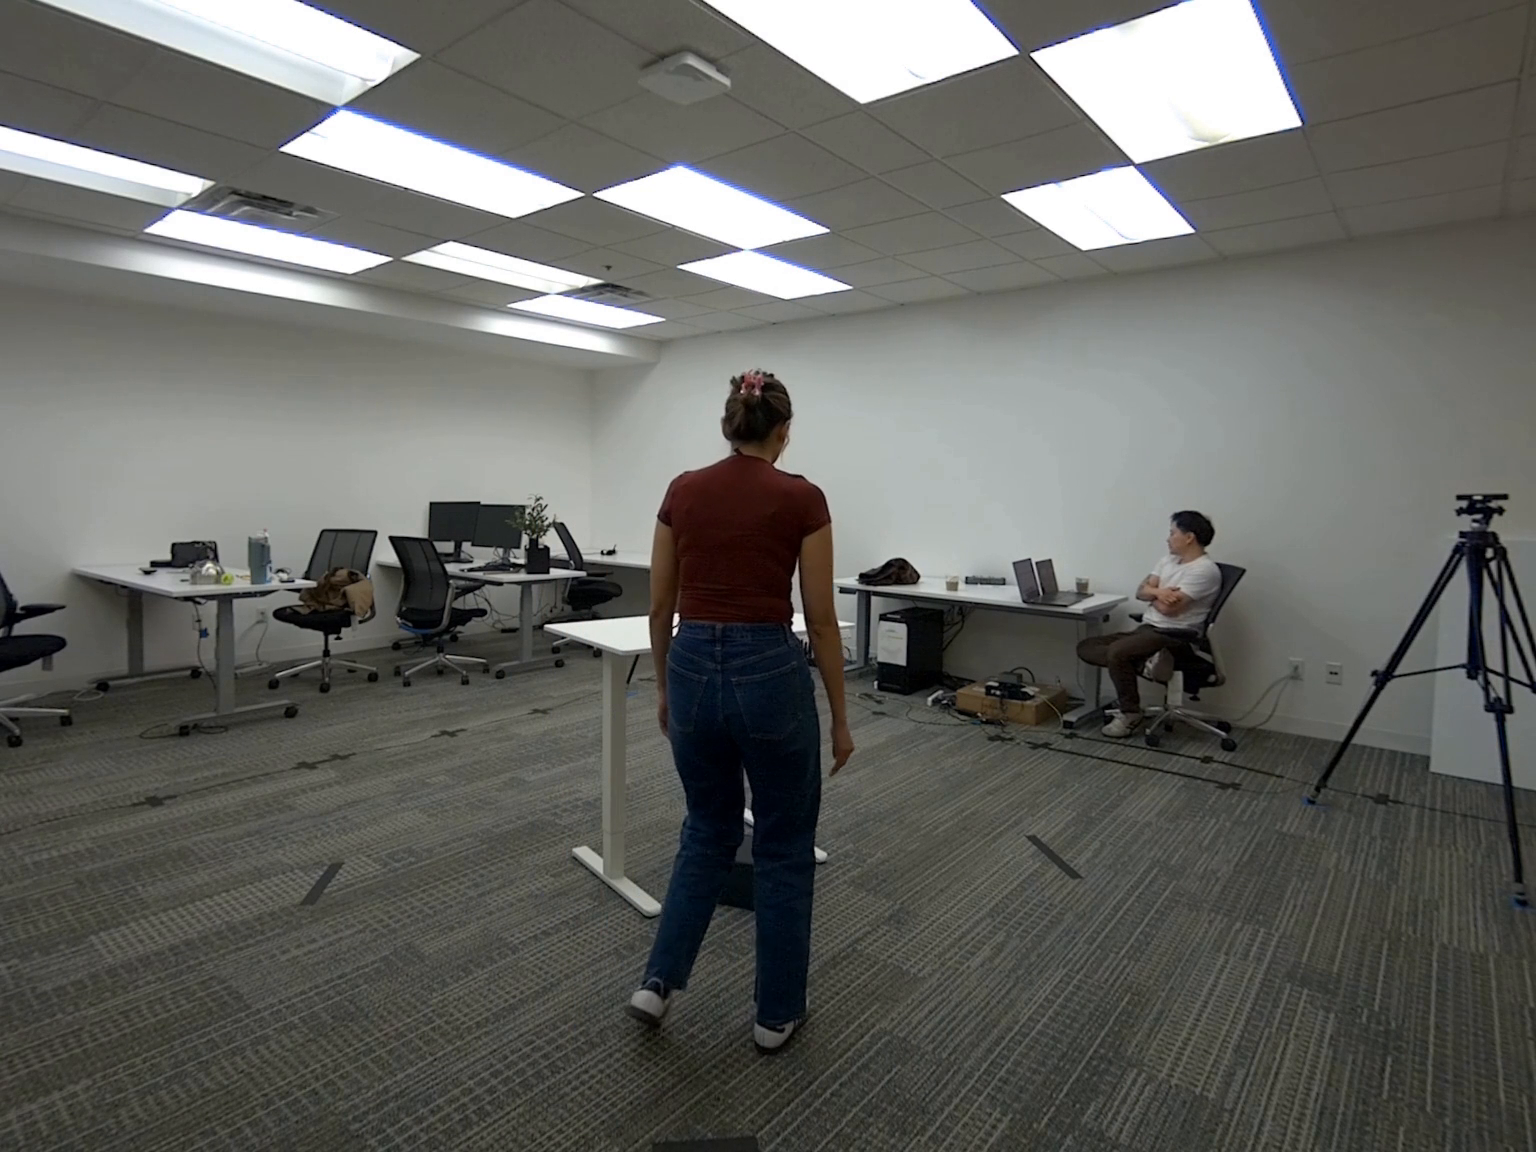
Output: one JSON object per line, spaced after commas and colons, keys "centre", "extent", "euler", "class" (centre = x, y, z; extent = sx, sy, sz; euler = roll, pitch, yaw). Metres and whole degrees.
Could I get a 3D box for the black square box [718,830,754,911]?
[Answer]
{"centre": [-0.086, 1.000, 2.913], "extent": [0.221, 0.155, 0.224], "euler": [3, 4, 17], "class": "black square box"}
